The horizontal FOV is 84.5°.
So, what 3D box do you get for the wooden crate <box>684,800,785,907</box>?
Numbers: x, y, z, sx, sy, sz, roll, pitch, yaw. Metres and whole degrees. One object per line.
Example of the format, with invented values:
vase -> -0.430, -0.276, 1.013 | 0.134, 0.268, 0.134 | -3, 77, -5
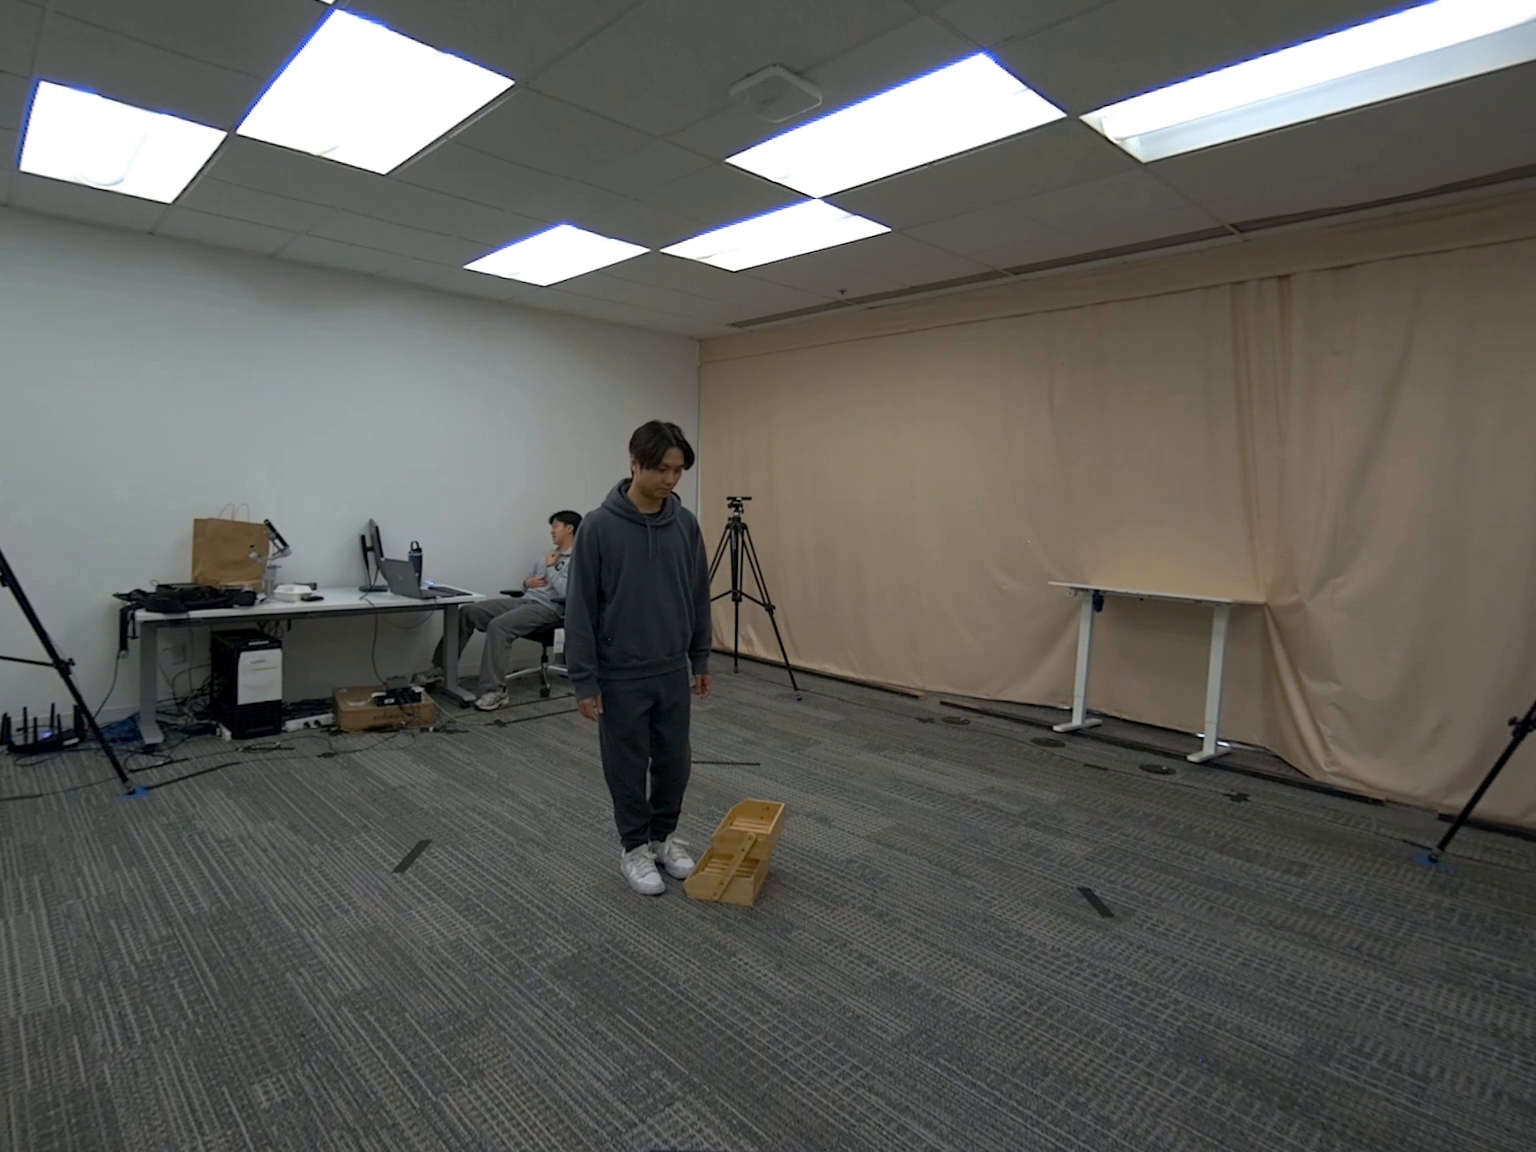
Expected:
wooden crate -> -0.130, 0.982, 3.031 | 0.305, 0.272, 0.322 | 3, 4, 12
